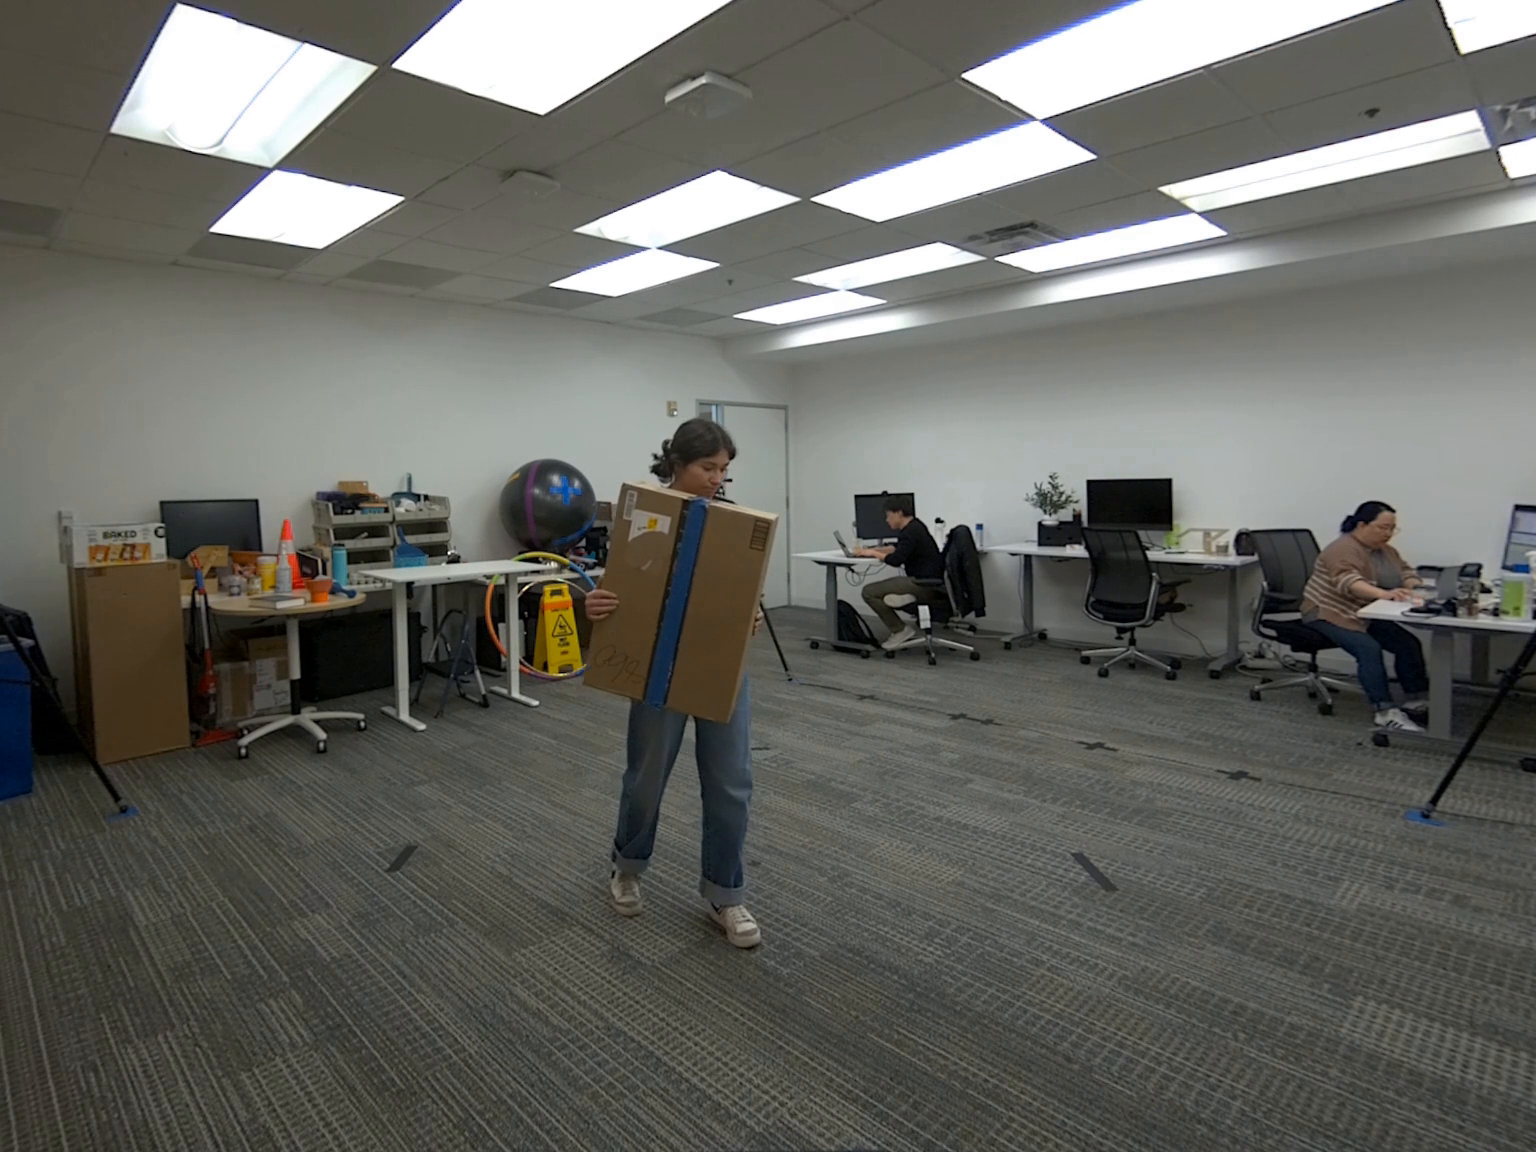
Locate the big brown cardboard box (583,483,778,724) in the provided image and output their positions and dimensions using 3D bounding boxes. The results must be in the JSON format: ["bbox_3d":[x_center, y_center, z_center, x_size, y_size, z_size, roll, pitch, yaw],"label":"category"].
[{"bbox_3d":[-0.234,0.055,2.366,0.422,0.586,0.232,12,8,8],"label":"big brown cardboard box"}]
